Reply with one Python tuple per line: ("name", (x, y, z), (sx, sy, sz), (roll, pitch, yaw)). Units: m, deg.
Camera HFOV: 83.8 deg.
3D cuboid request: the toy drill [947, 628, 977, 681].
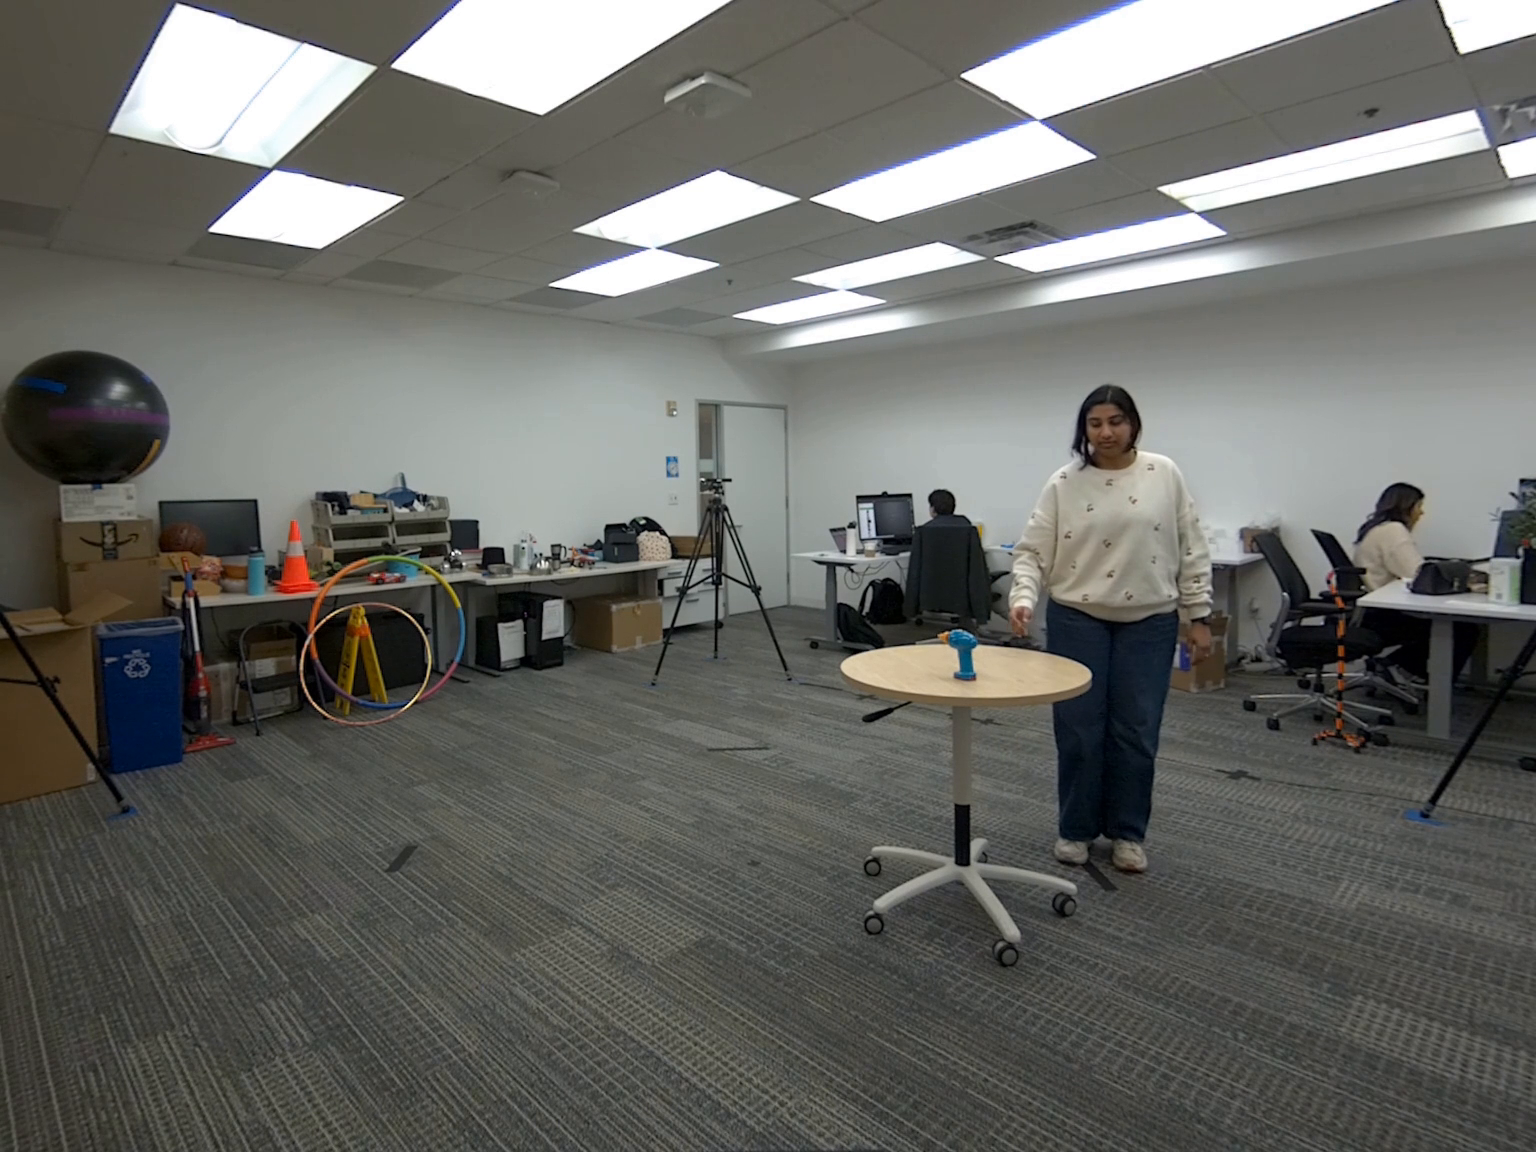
("toy drill", (0.583, 0.234, 2.601), (0.060, 0.145, 0.174), (-6, 6, -25))
